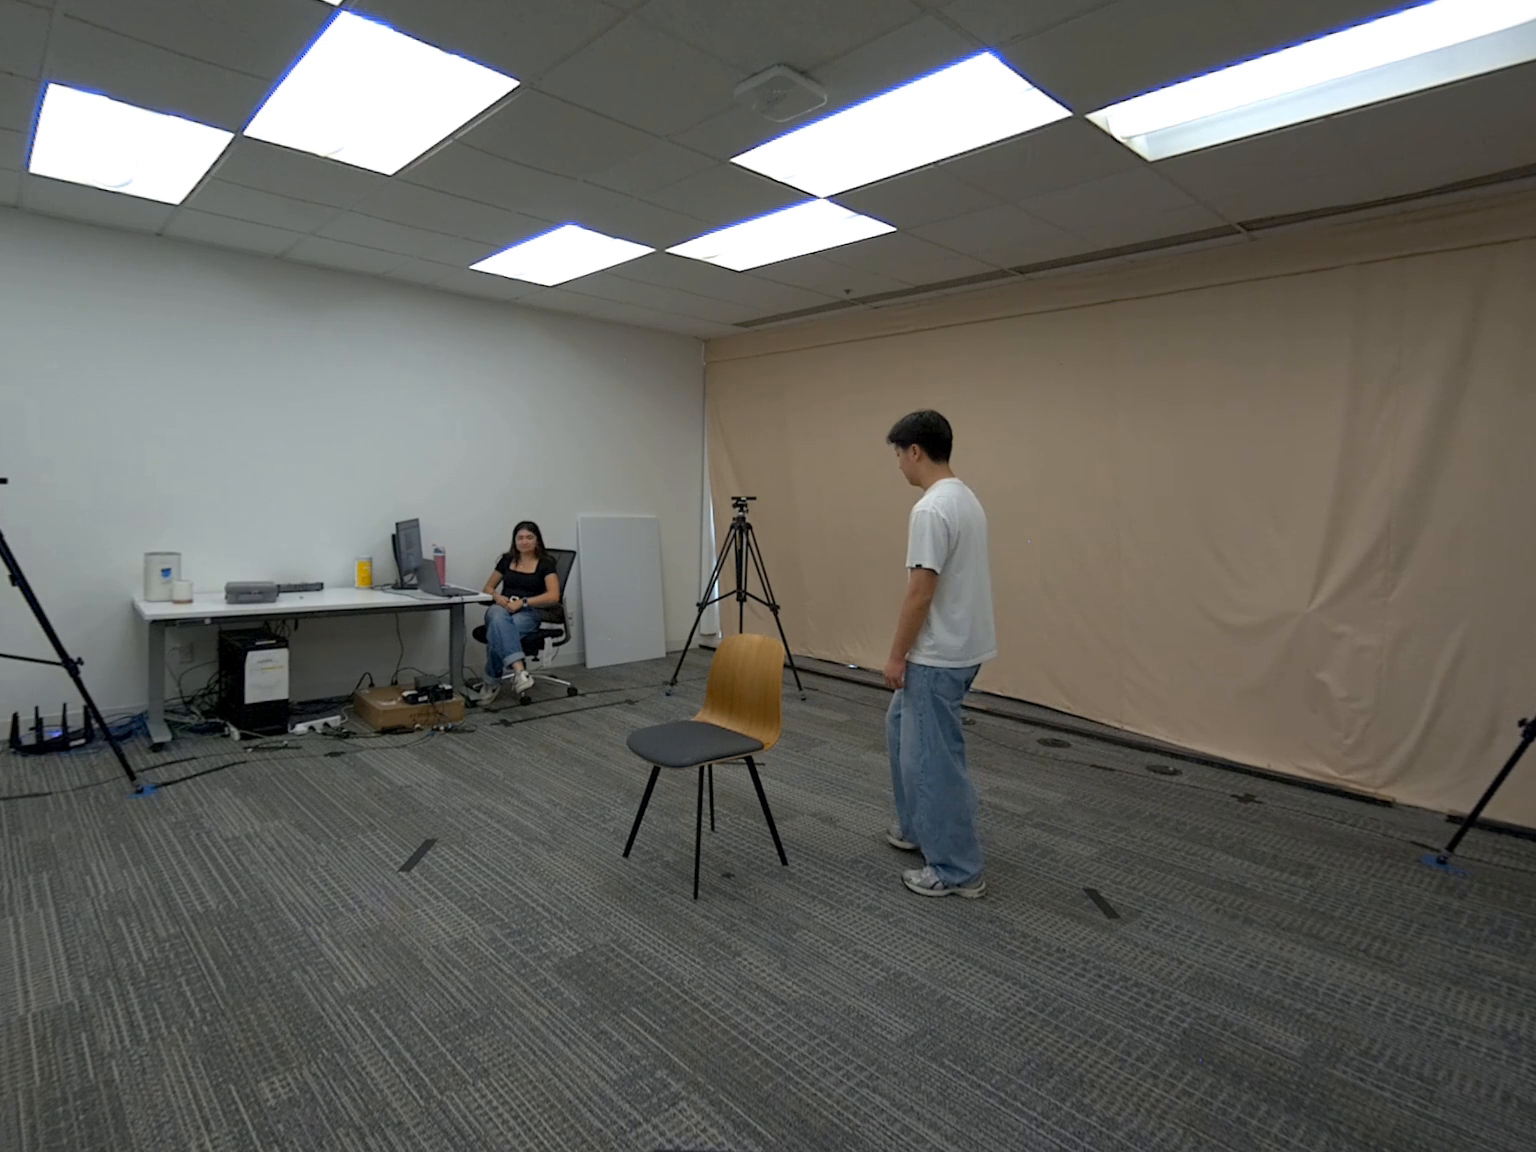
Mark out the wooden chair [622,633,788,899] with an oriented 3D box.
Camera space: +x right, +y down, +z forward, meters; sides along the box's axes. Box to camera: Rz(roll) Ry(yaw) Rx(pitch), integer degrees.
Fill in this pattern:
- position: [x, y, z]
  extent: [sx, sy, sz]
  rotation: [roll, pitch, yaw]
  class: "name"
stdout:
- position: [-0.240, 0.667, 3.189]
  extent: [0.510, 0.877, 0.490]
  rotation: [5, 0, -43]
  class: "wooden chair"
